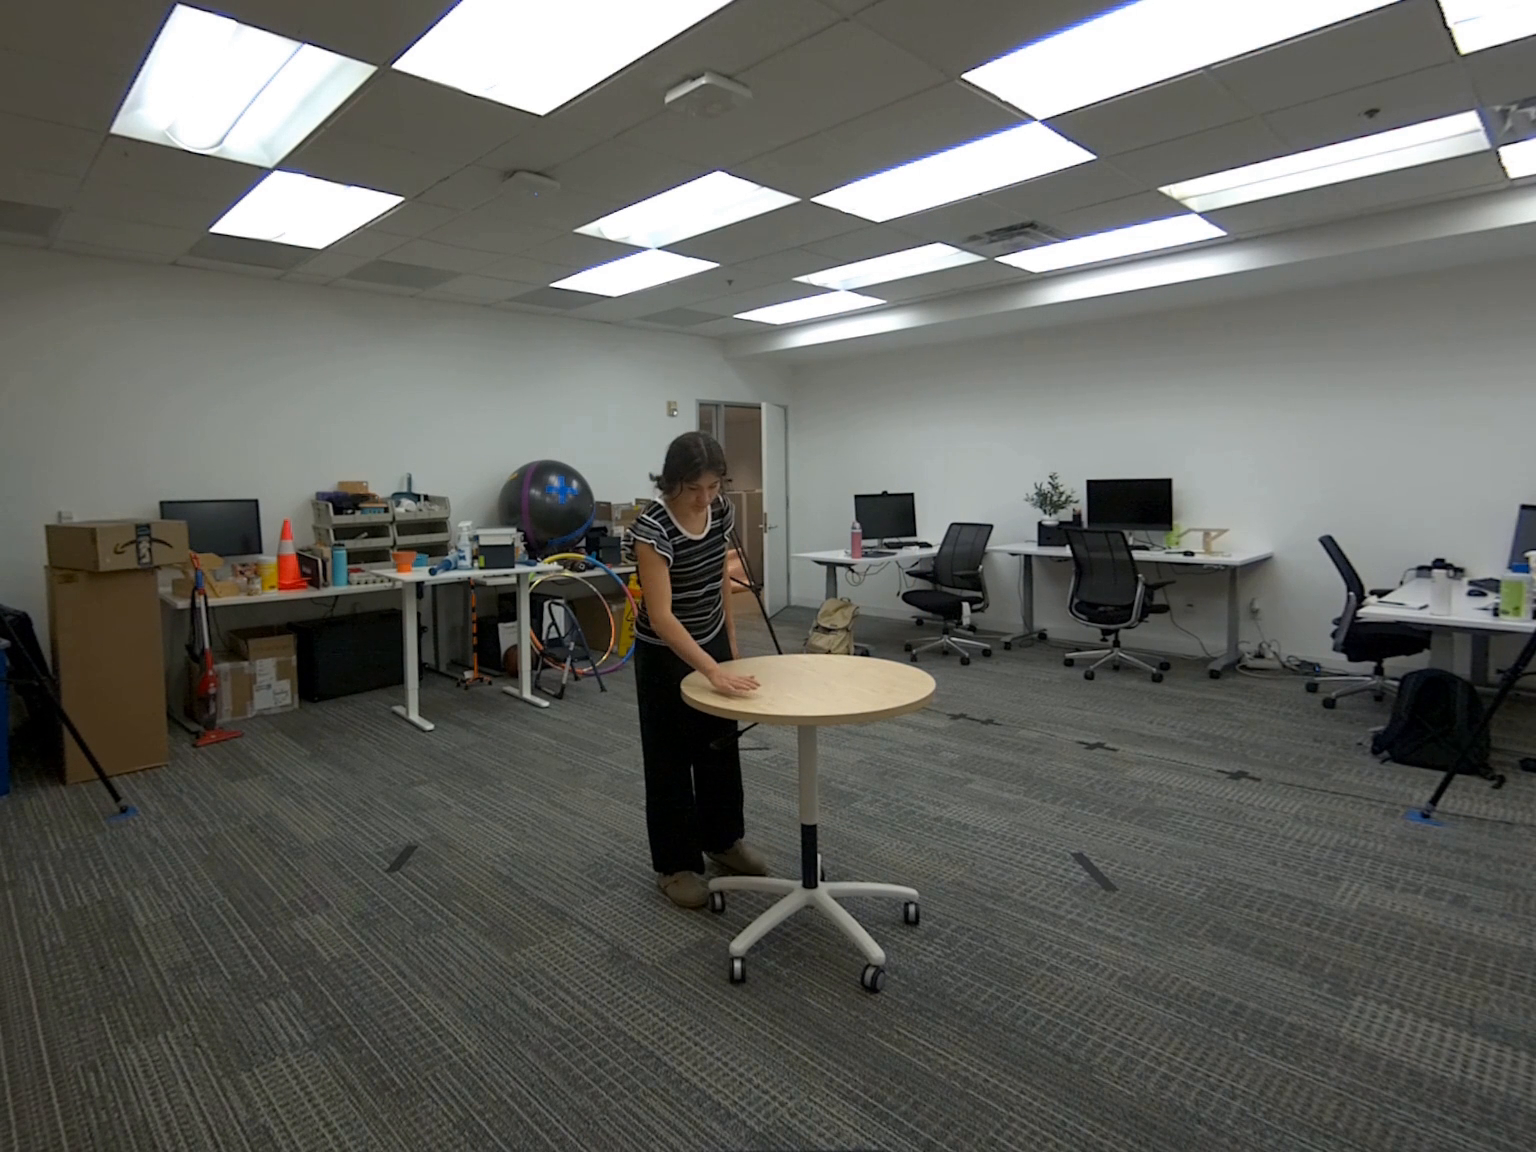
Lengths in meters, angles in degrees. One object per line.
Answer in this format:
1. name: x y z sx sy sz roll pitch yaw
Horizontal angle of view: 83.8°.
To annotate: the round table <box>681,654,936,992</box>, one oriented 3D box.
1. round table: 0.136 0.712 2.613 0.763 0.791 0.768 -2 5 -2
